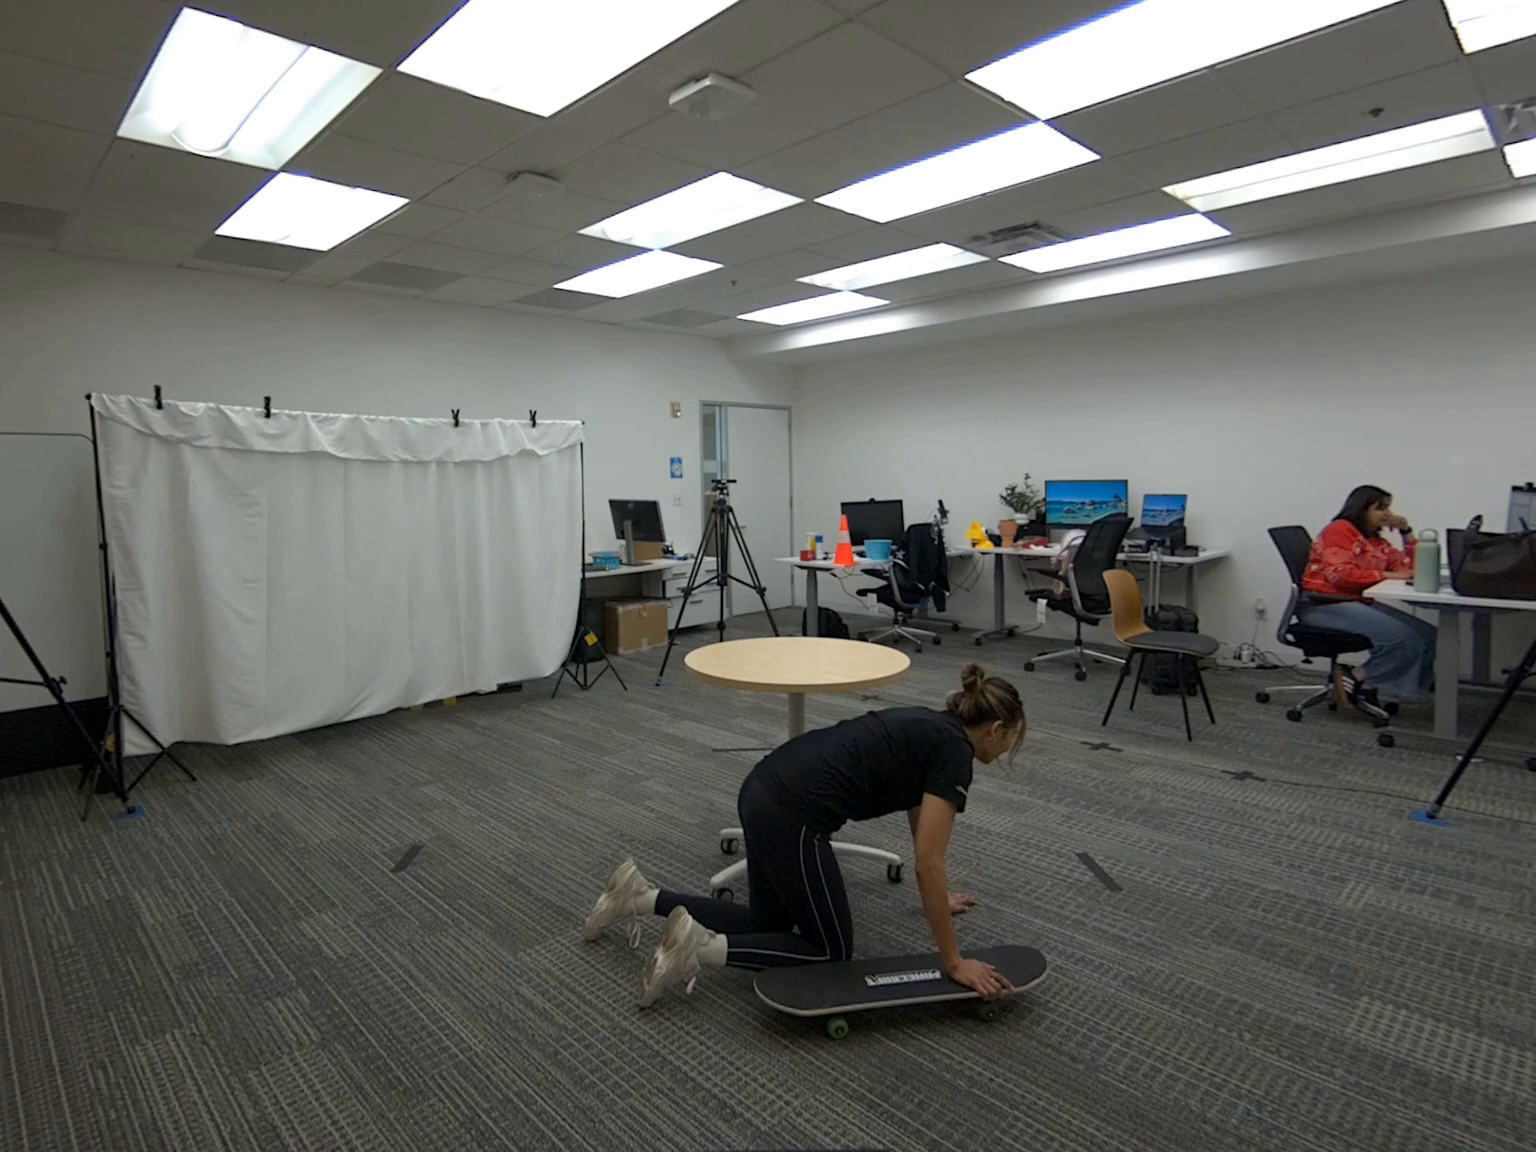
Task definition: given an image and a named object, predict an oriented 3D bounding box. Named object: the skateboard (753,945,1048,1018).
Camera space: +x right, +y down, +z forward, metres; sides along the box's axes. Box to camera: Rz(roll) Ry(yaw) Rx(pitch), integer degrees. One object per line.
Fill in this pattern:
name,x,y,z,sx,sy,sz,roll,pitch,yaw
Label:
skateboard,0.359,1.080,2.246,0.781,0.110,0.195,-2,6,-5
